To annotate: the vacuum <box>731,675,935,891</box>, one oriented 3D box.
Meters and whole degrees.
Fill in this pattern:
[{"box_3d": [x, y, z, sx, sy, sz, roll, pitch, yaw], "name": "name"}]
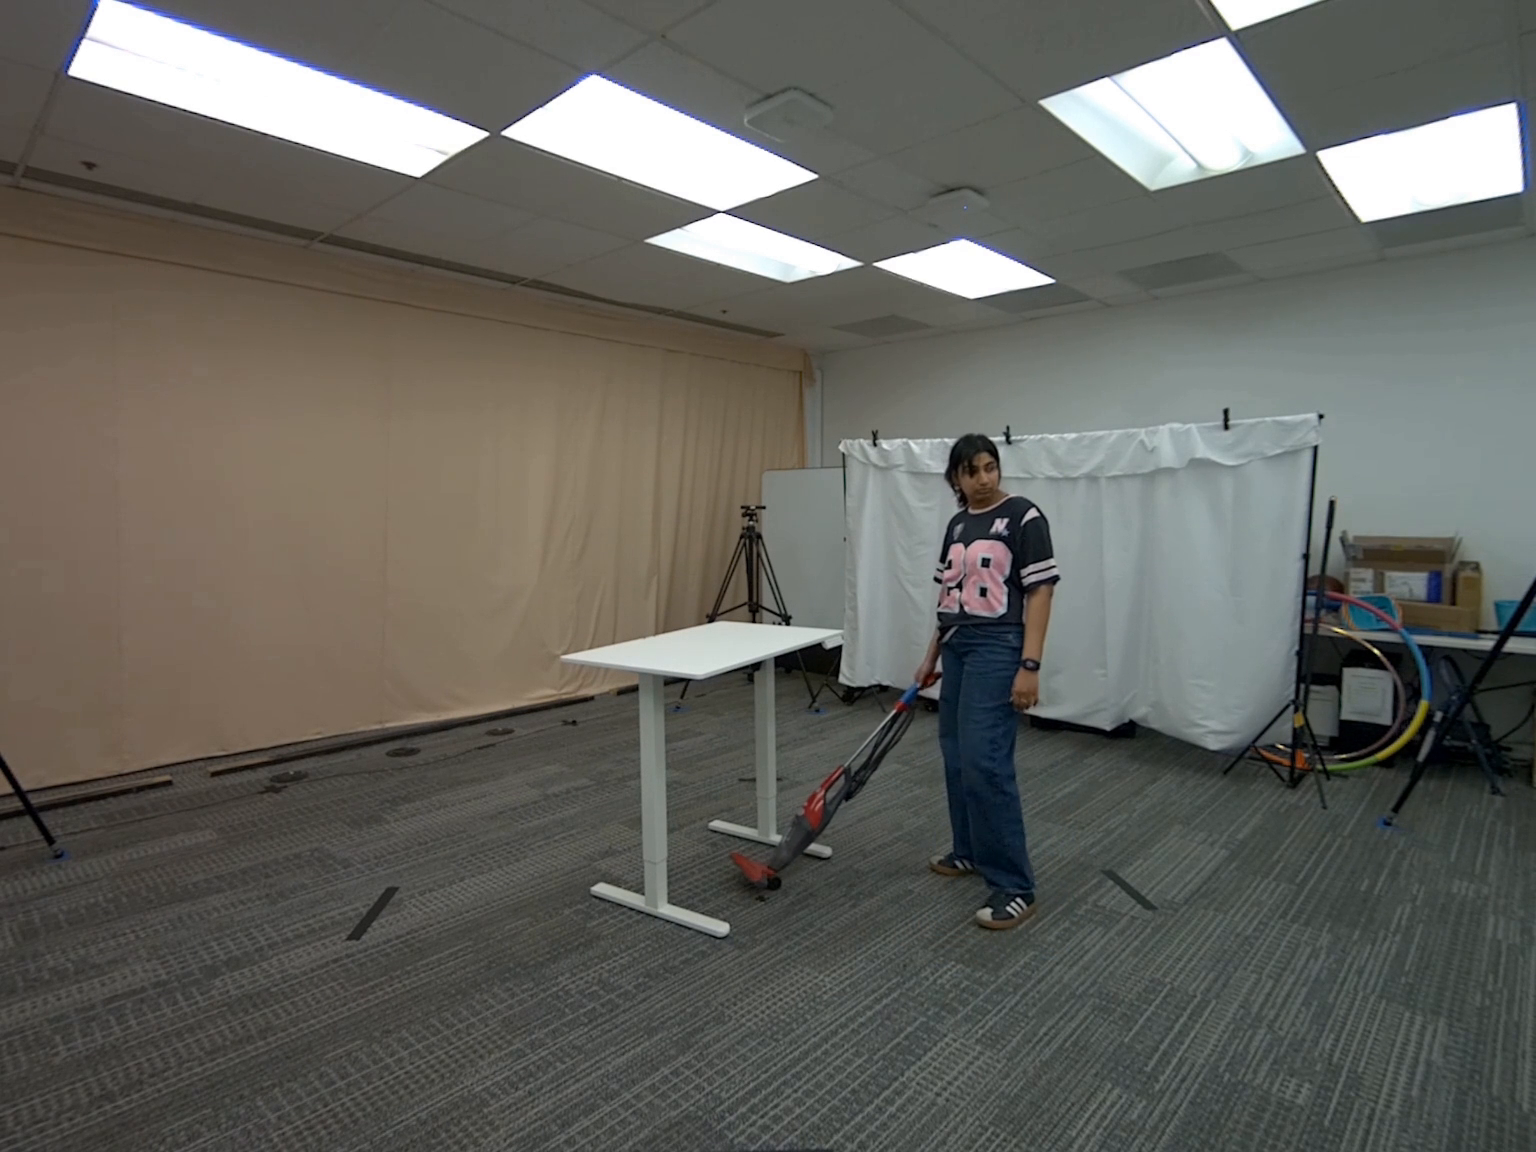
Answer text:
[{"box_3d": [0.321, 0.757, 3.198, 1.044, 0.141, 0.259, -43, 19, -12], "name": "vacuum"}]
